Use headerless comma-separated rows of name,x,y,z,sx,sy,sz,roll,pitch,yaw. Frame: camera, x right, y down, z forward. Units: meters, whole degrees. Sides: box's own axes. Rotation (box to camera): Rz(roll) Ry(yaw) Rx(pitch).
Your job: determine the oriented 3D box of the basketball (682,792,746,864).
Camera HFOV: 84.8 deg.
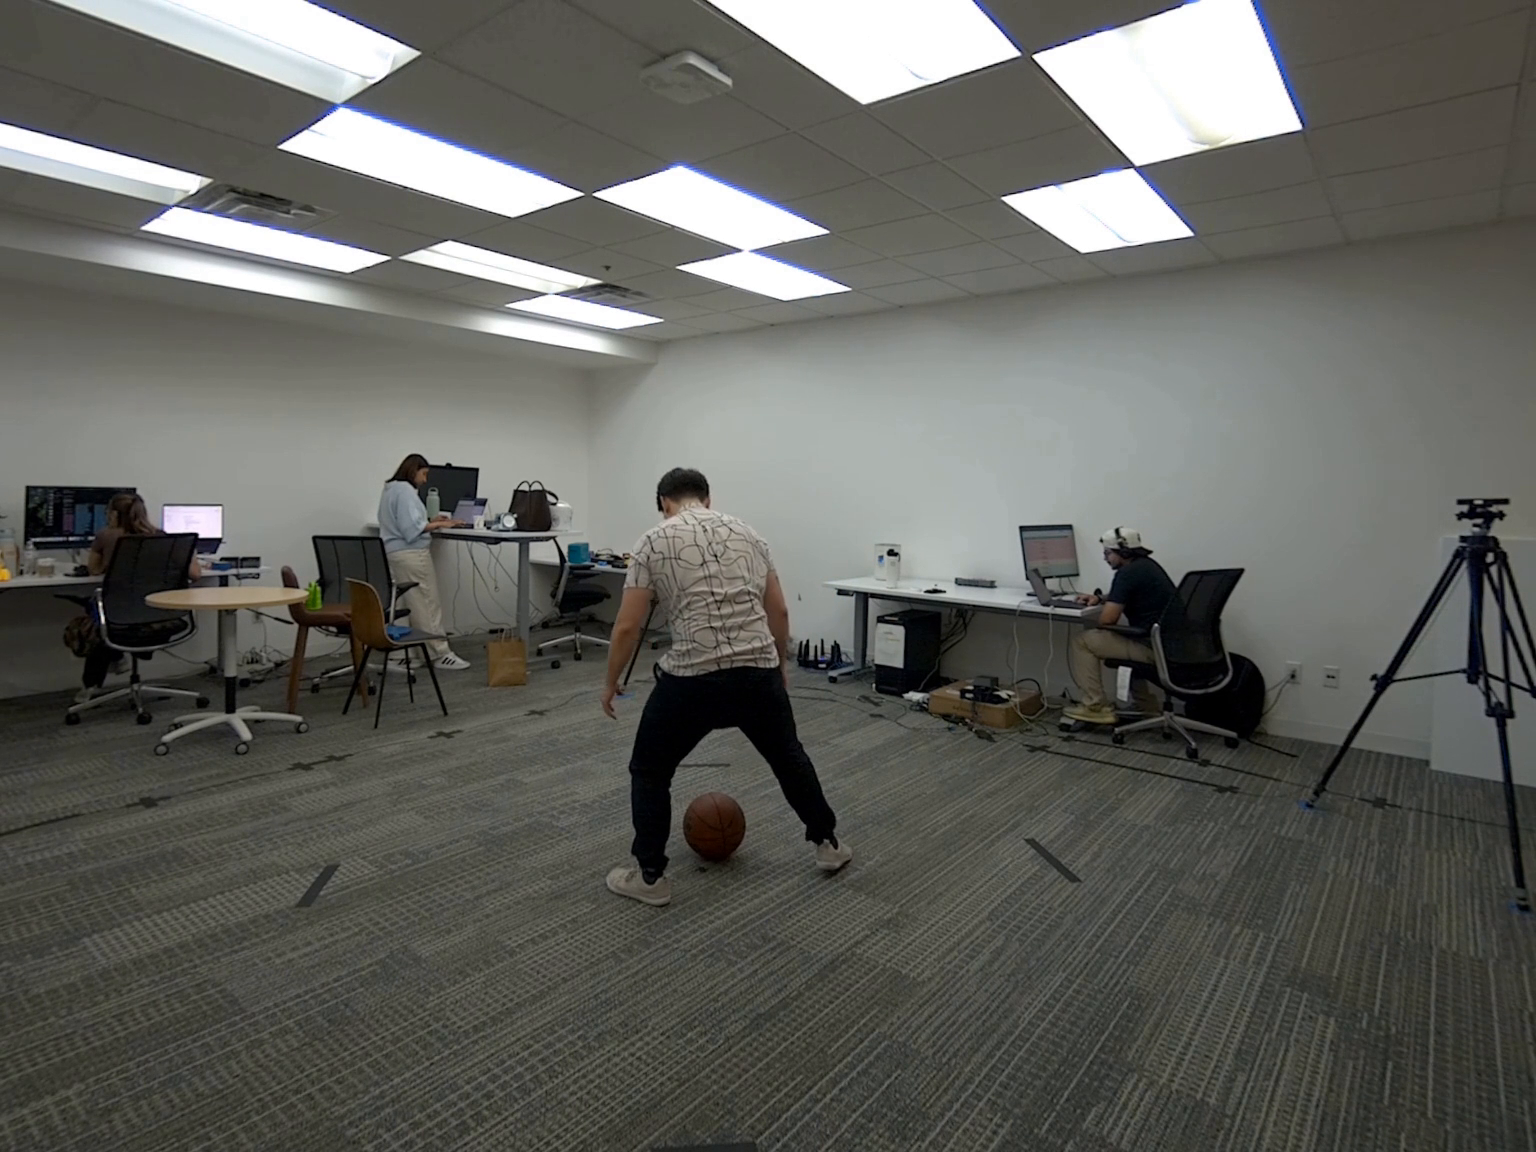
basketball,-0.215,0.938,3.216,0.235,0.235,0.237,1,4,-2
